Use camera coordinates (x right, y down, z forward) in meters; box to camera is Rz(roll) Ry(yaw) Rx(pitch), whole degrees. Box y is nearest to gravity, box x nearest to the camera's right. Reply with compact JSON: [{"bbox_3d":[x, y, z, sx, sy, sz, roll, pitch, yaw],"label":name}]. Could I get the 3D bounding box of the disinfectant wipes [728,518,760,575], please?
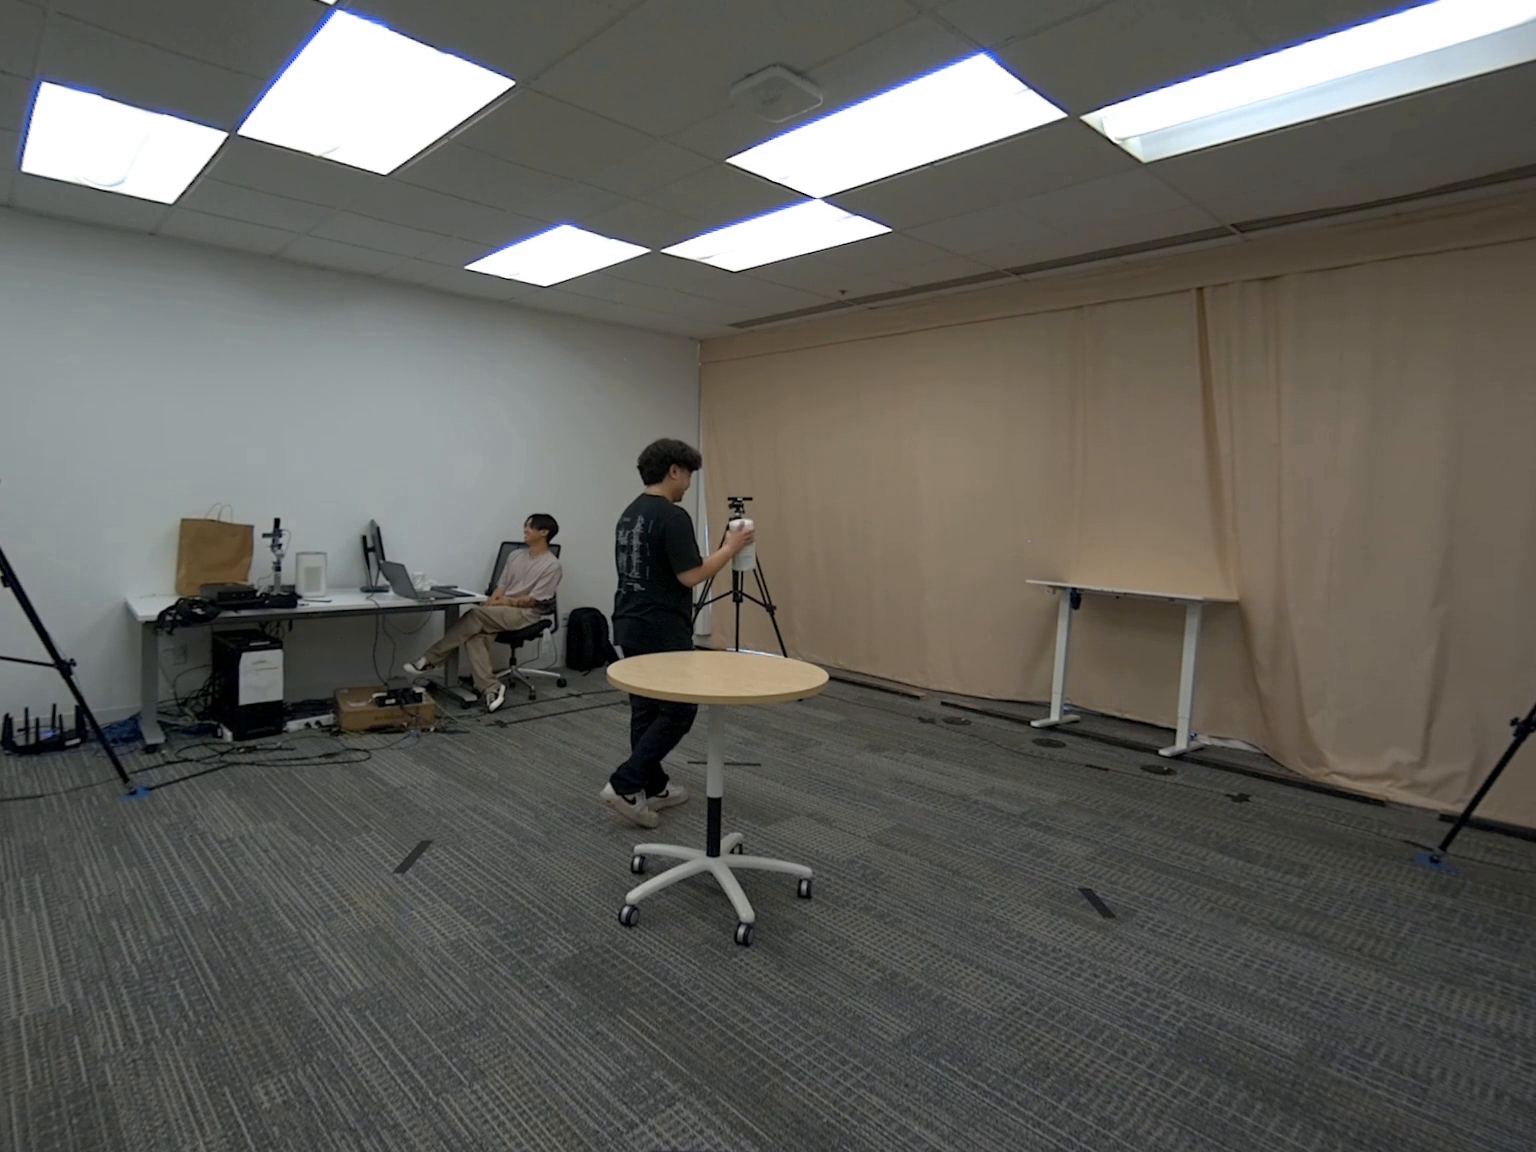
[{"bbox_3d":[-0.108,-0.133,3.734,0.118,0.215,0.119,-4,14,0],"label":"disinfectant wipes"}]
